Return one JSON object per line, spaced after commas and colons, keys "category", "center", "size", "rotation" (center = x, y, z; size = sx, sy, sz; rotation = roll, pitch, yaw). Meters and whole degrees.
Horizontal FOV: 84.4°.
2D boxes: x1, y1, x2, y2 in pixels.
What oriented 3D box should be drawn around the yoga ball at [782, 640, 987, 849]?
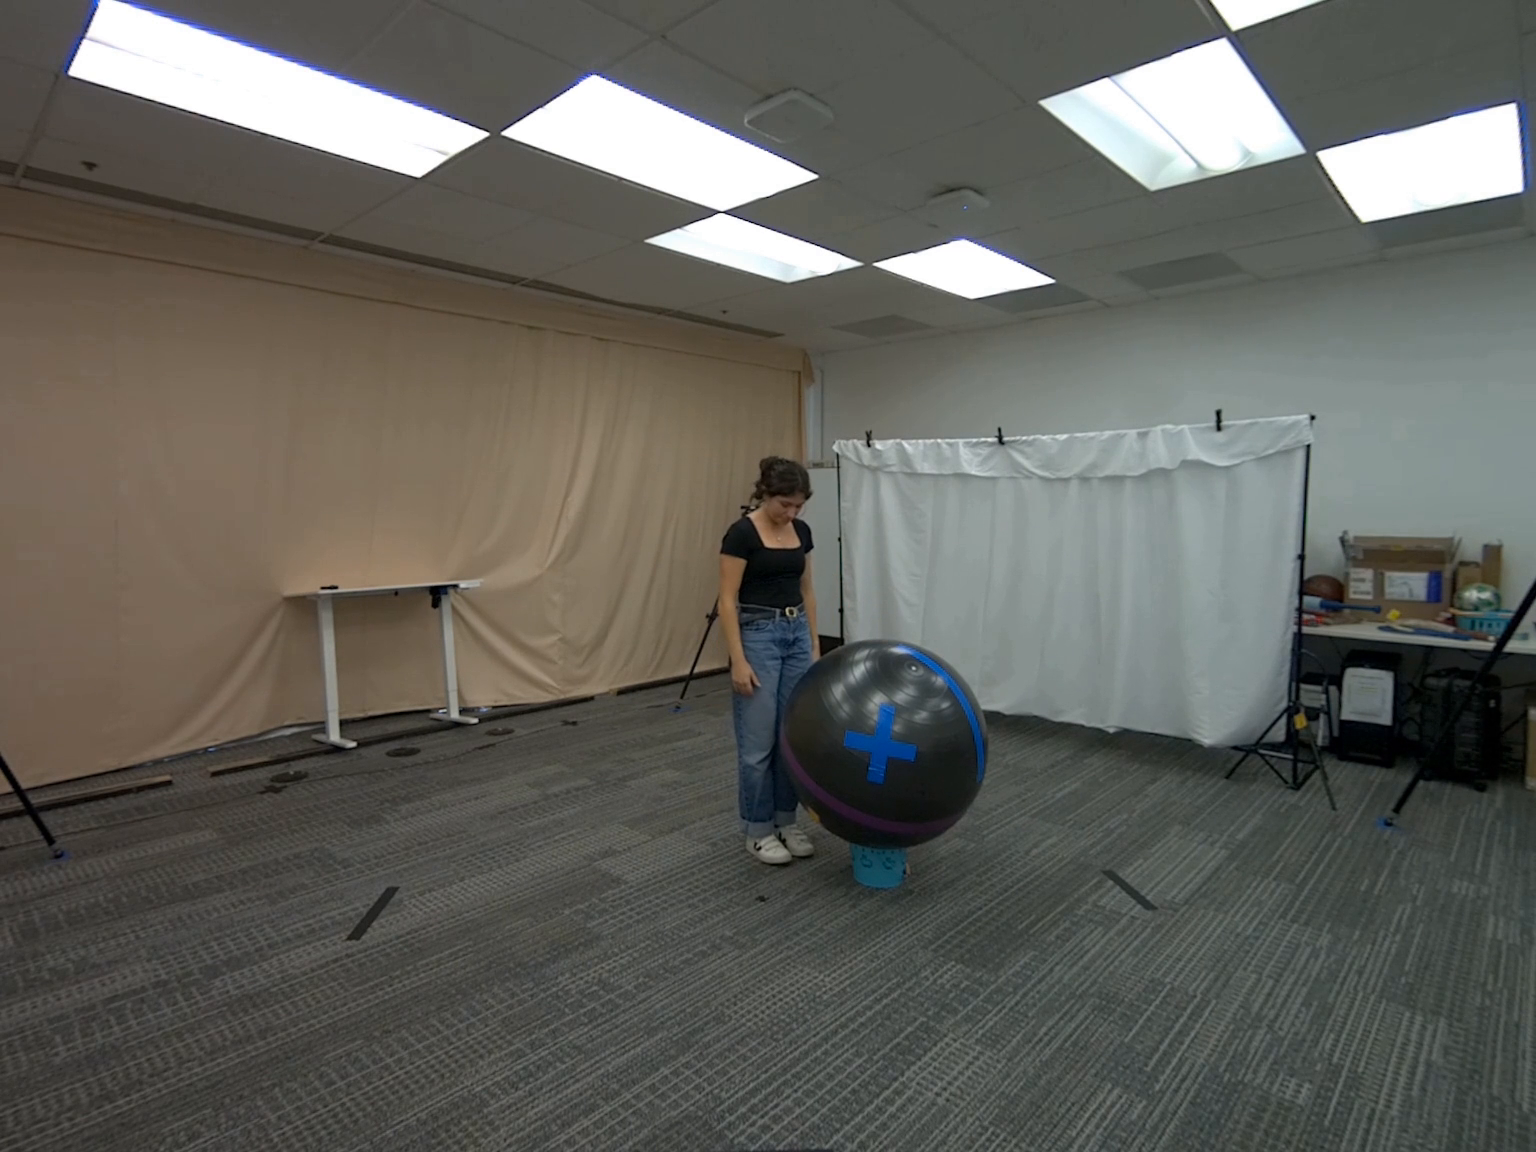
{"category": "yoga ball", "center": [0.444, 0.619, 3.131], "size": [0.757, 0.756, 0.760], "rotation": [0, 4, -2]}
